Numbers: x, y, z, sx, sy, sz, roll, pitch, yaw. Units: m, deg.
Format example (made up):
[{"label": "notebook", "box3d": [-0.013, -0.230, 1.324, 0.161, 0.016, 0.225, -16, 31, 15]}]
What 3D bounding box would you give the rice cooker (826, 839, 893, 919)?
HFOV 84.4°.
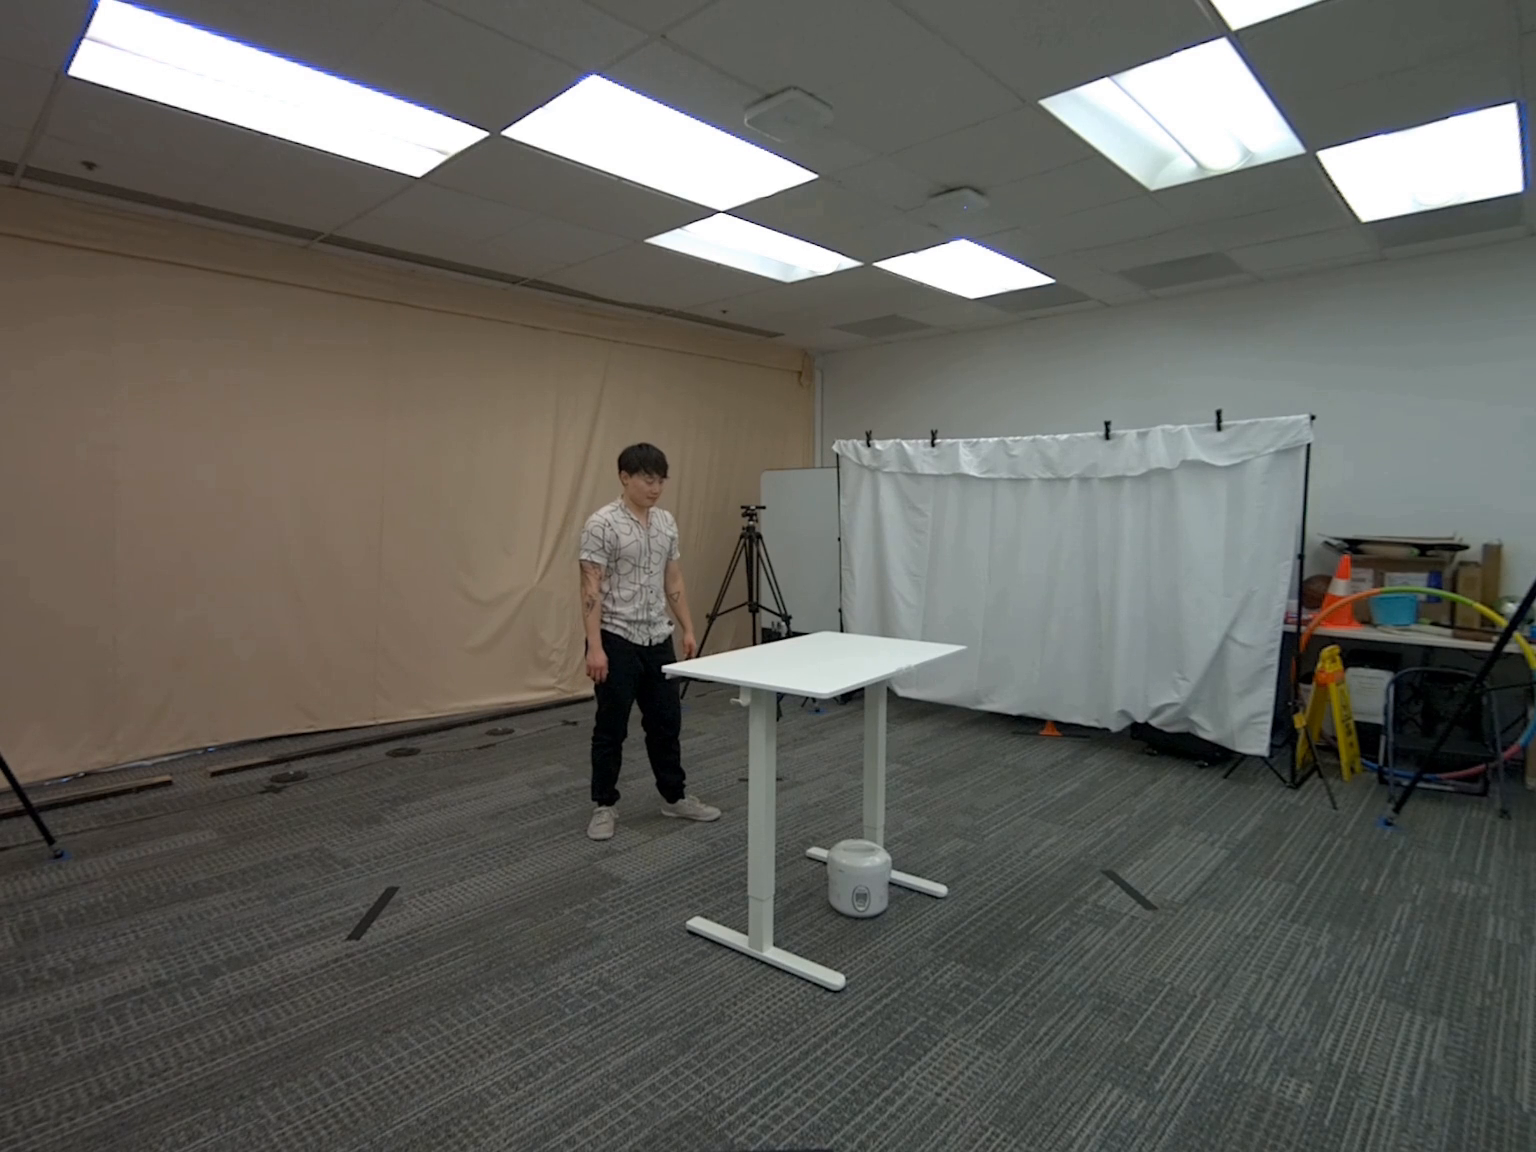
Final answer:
[{"label": "rice cooker", "box3d": [0.317, 1.032, 2.910, 0.221, 0.232, 0.217, 0, 3, 3]}]
